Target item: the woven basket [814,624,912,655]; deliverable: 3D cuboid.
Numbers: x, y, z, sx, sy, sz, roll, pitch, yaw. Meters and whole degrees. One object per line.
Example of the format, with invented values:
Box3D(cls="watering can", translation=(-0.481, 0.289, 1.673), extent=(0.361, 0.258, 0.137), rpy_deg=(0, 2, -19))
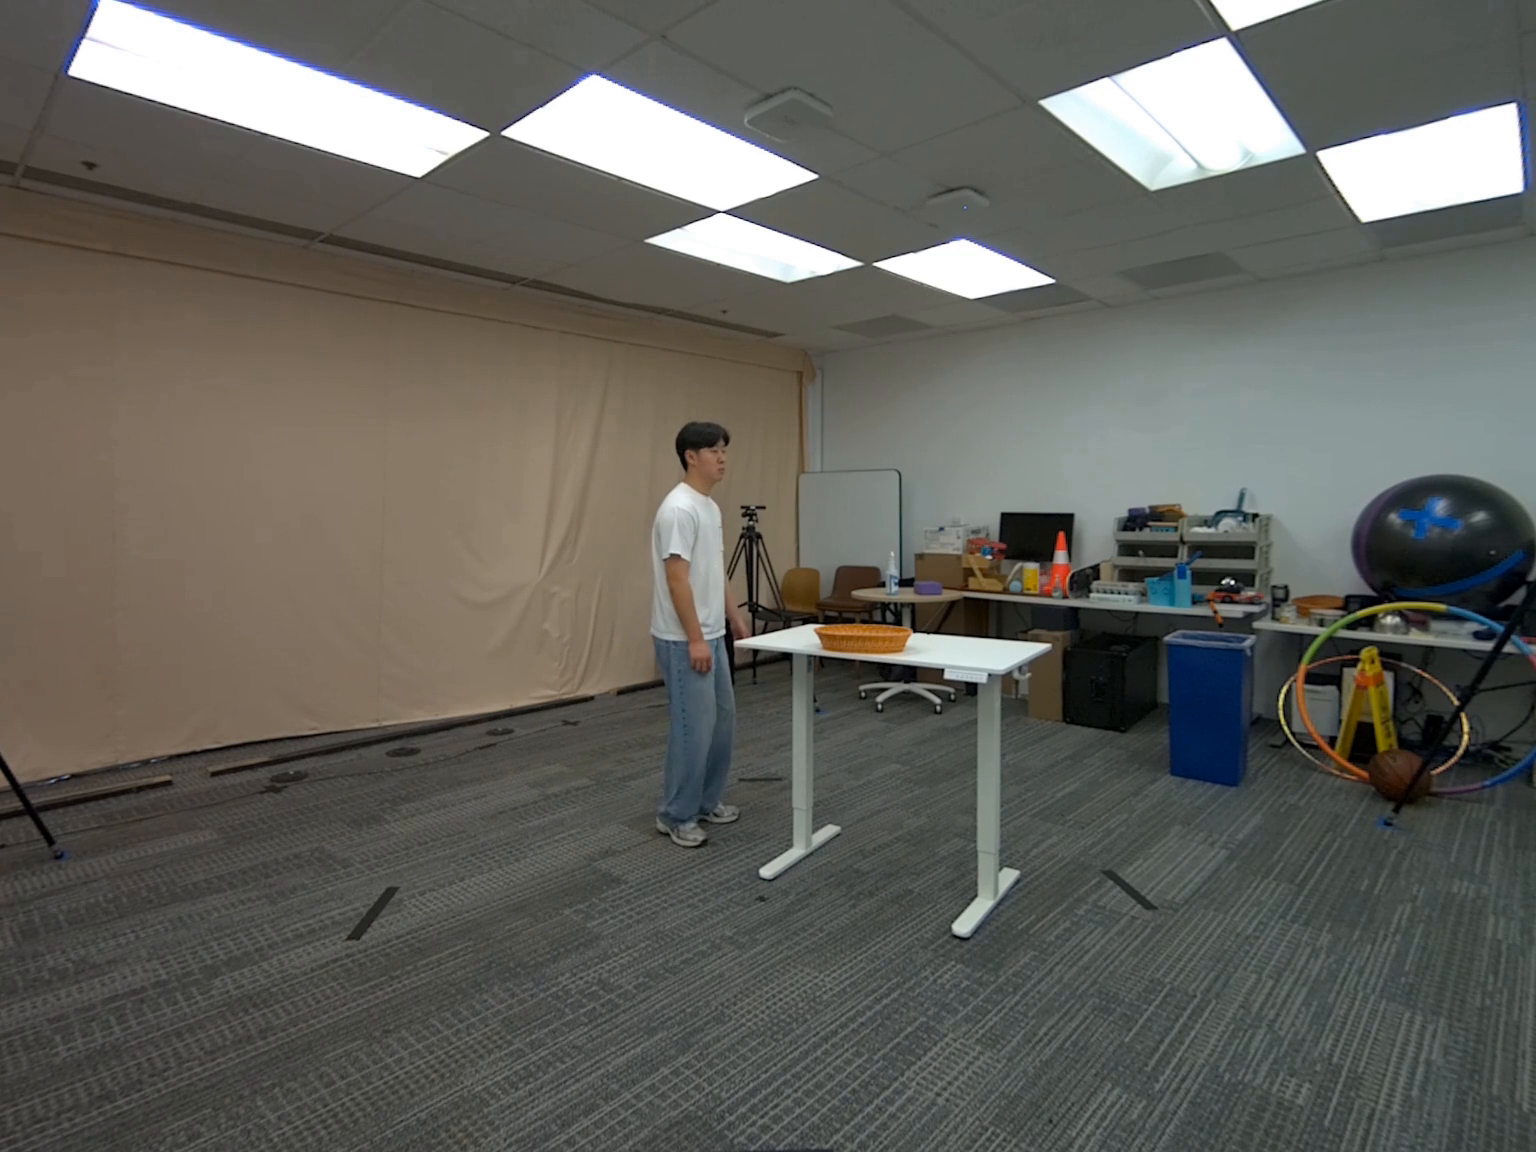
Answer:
Box3D(cls="woven basket", translation=(0.351, 0.231, 2.980), extent=(0.356, 0.073, 0.249), rpy_deg=(1, 4, 15))
